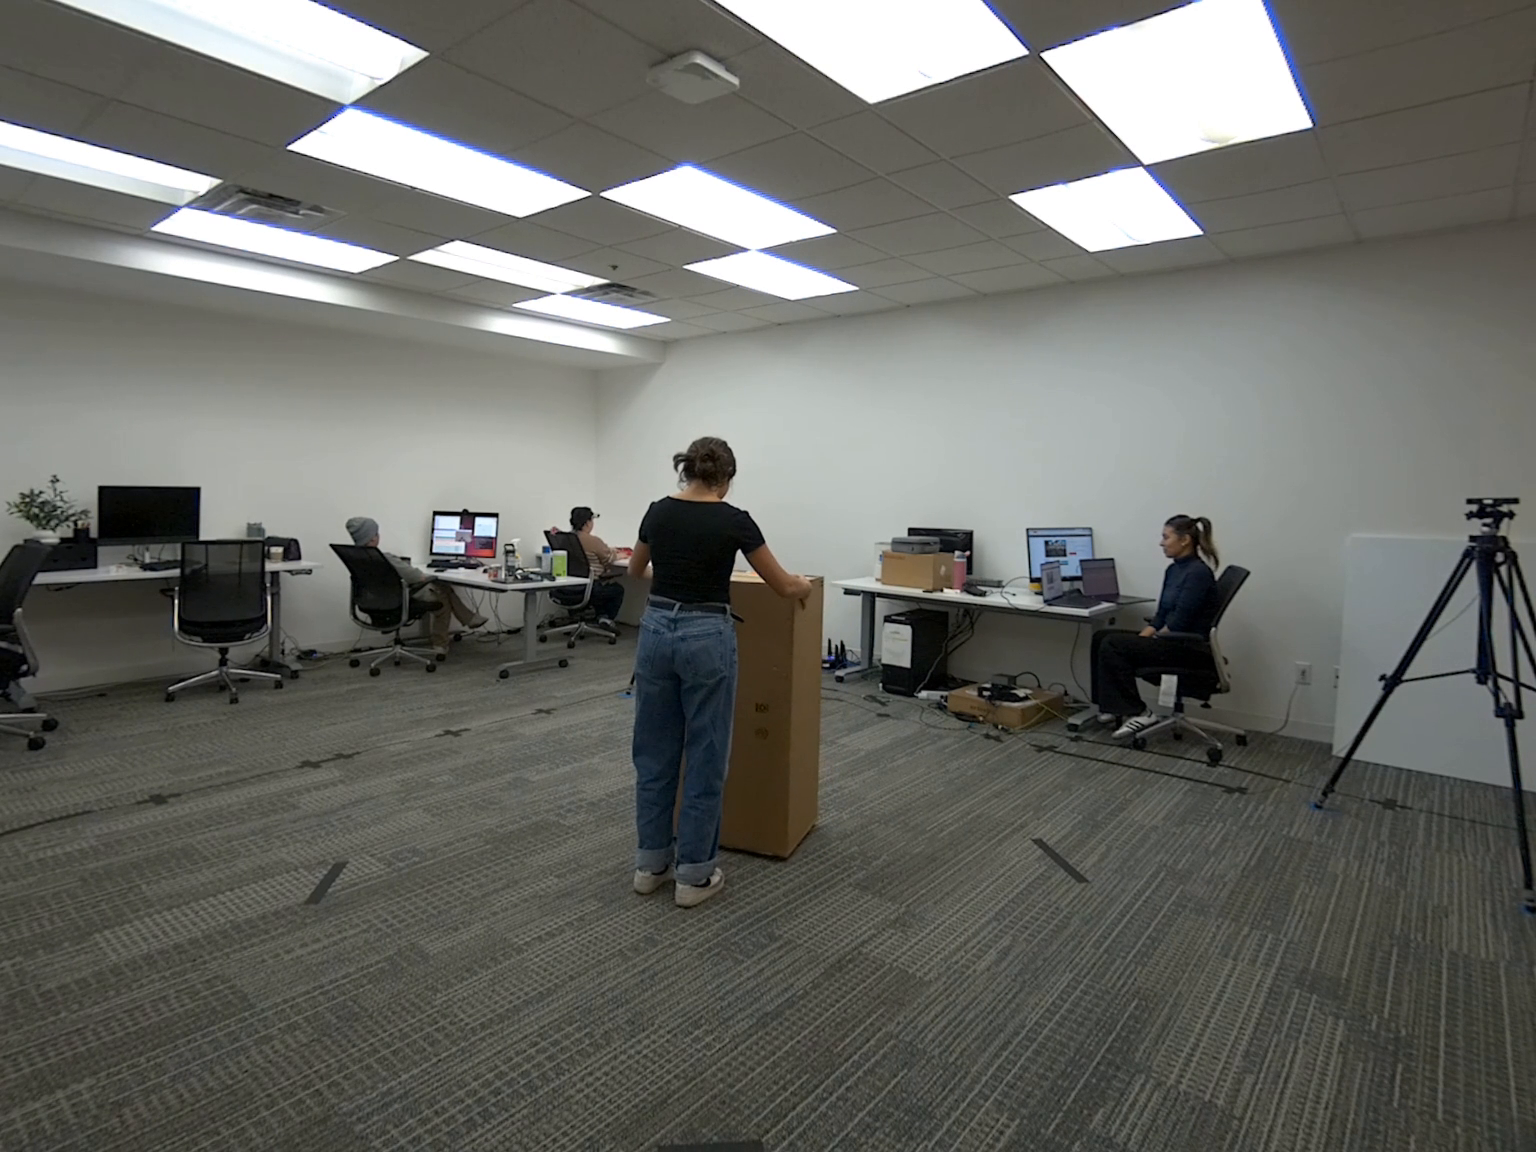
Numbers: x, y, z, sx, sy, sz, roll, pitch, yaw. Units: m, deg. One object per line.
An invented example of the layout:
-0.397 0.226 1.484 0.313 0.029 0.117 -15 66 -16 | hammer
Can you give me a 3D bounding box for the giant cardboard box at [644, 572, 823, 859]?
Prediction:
-0.117 0.507 3.444 0.591 1.023 0.418 3 3 21 | giant cardboard box
